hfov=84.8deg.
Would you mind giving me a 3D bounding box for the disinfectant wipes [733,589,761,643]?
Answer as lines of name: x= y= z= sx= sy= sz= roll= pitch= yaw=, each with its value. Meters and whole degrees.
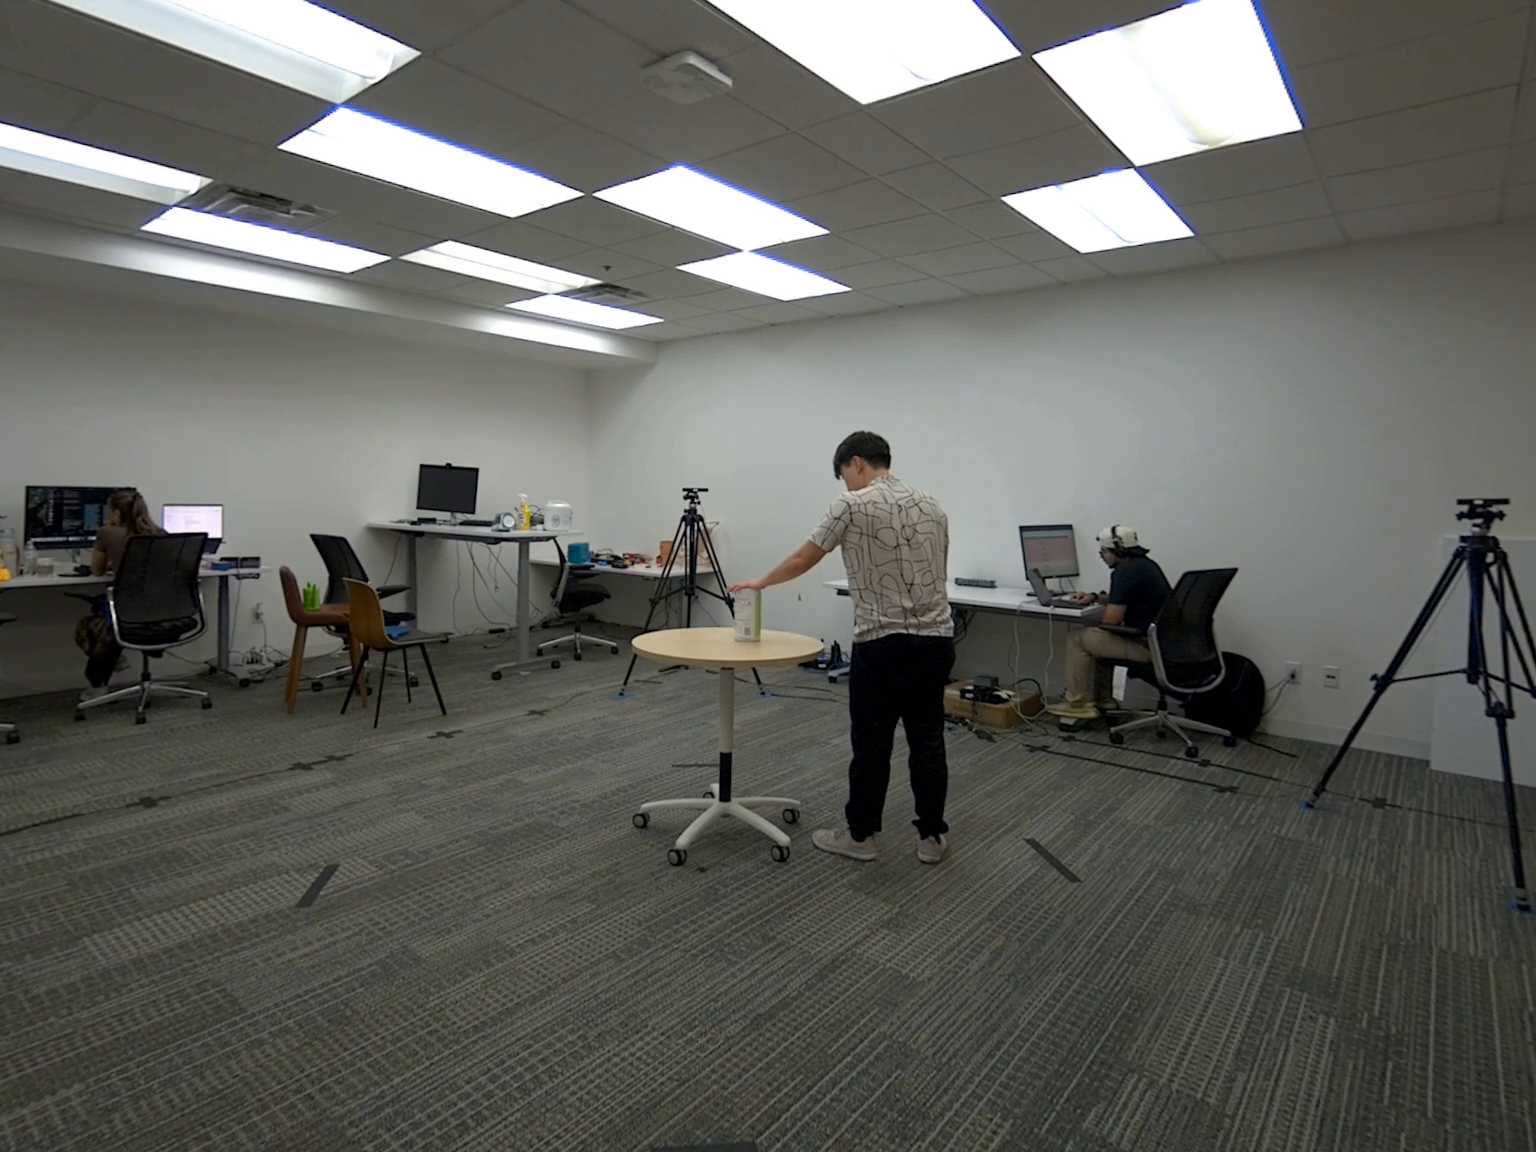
disinfectant wipes: x=-0.093 y=0.153 z=3.465 sx=0.118 sy=0.217 sz=0.118 roll=2 pitch=2 yaw=-2
